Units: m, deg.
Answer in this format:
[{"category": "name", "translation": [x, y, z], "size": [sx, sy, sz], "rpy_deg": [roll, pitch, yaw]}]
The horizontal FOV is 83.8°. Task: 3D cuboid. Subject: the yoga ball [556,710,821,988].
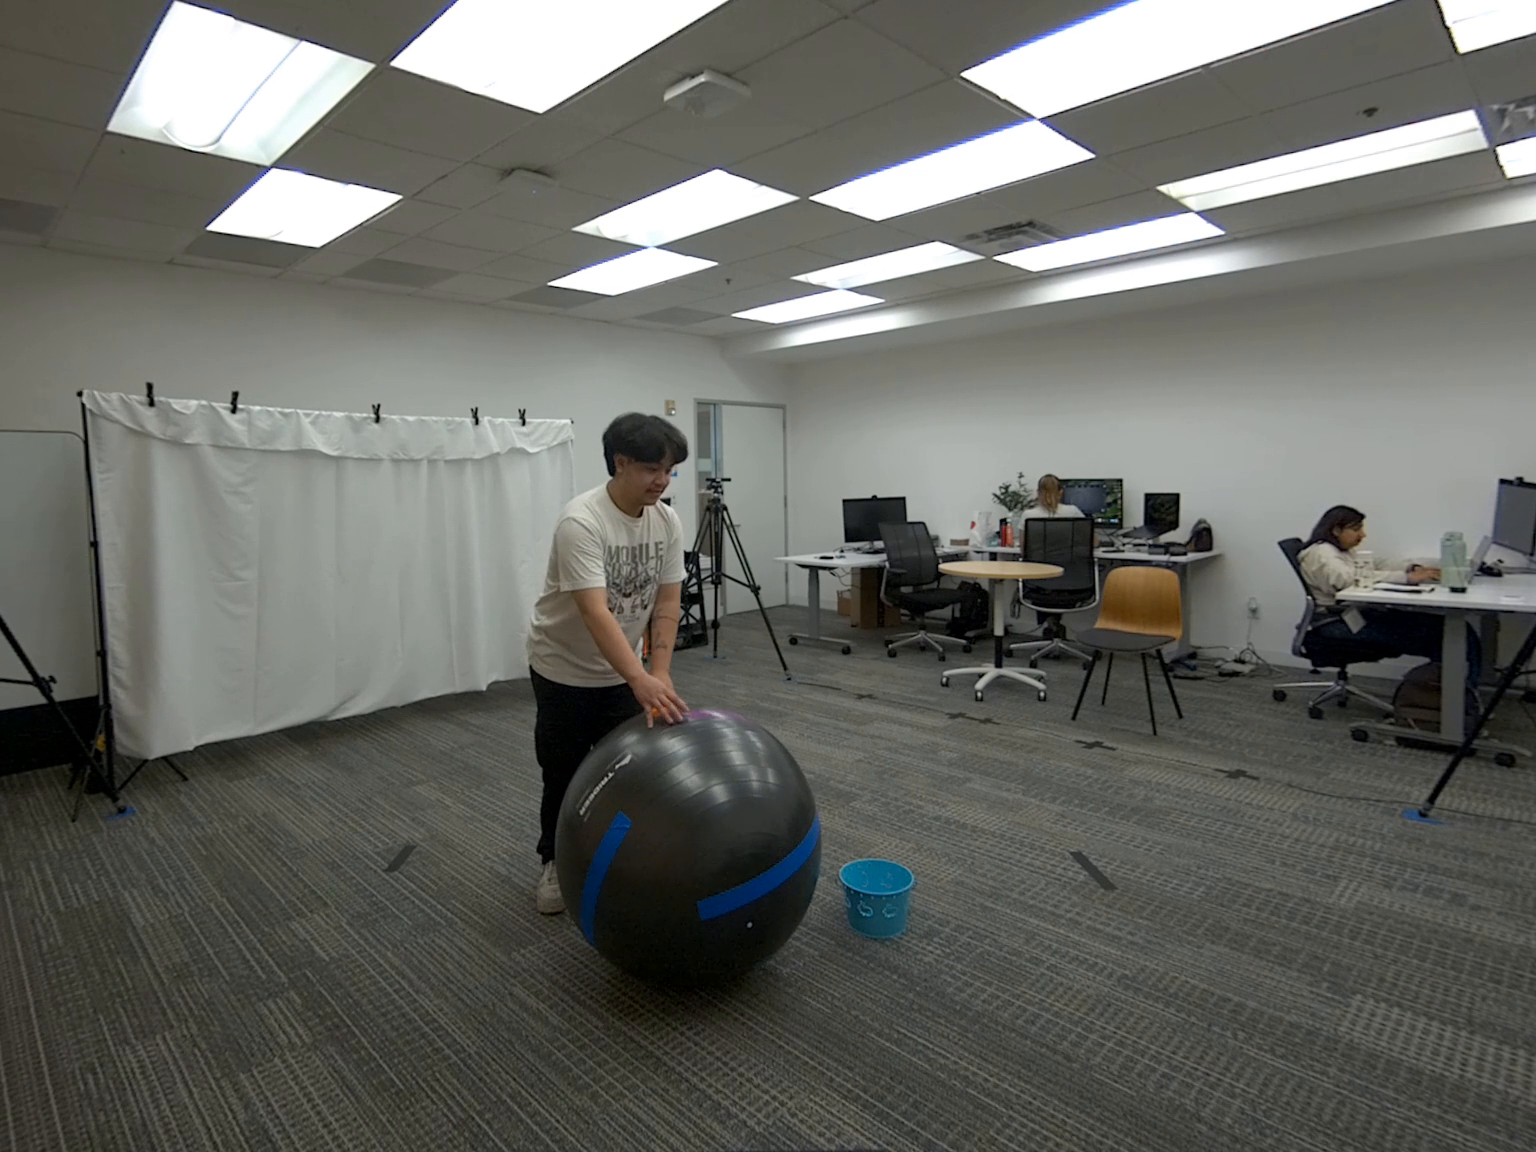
[{"category": "yoga ball", "translation": [-0.221, 0.763, 2.429], "size": [0.757, 0.755, 0.762], "rpy_deg": [-1, 5, -2]}]
